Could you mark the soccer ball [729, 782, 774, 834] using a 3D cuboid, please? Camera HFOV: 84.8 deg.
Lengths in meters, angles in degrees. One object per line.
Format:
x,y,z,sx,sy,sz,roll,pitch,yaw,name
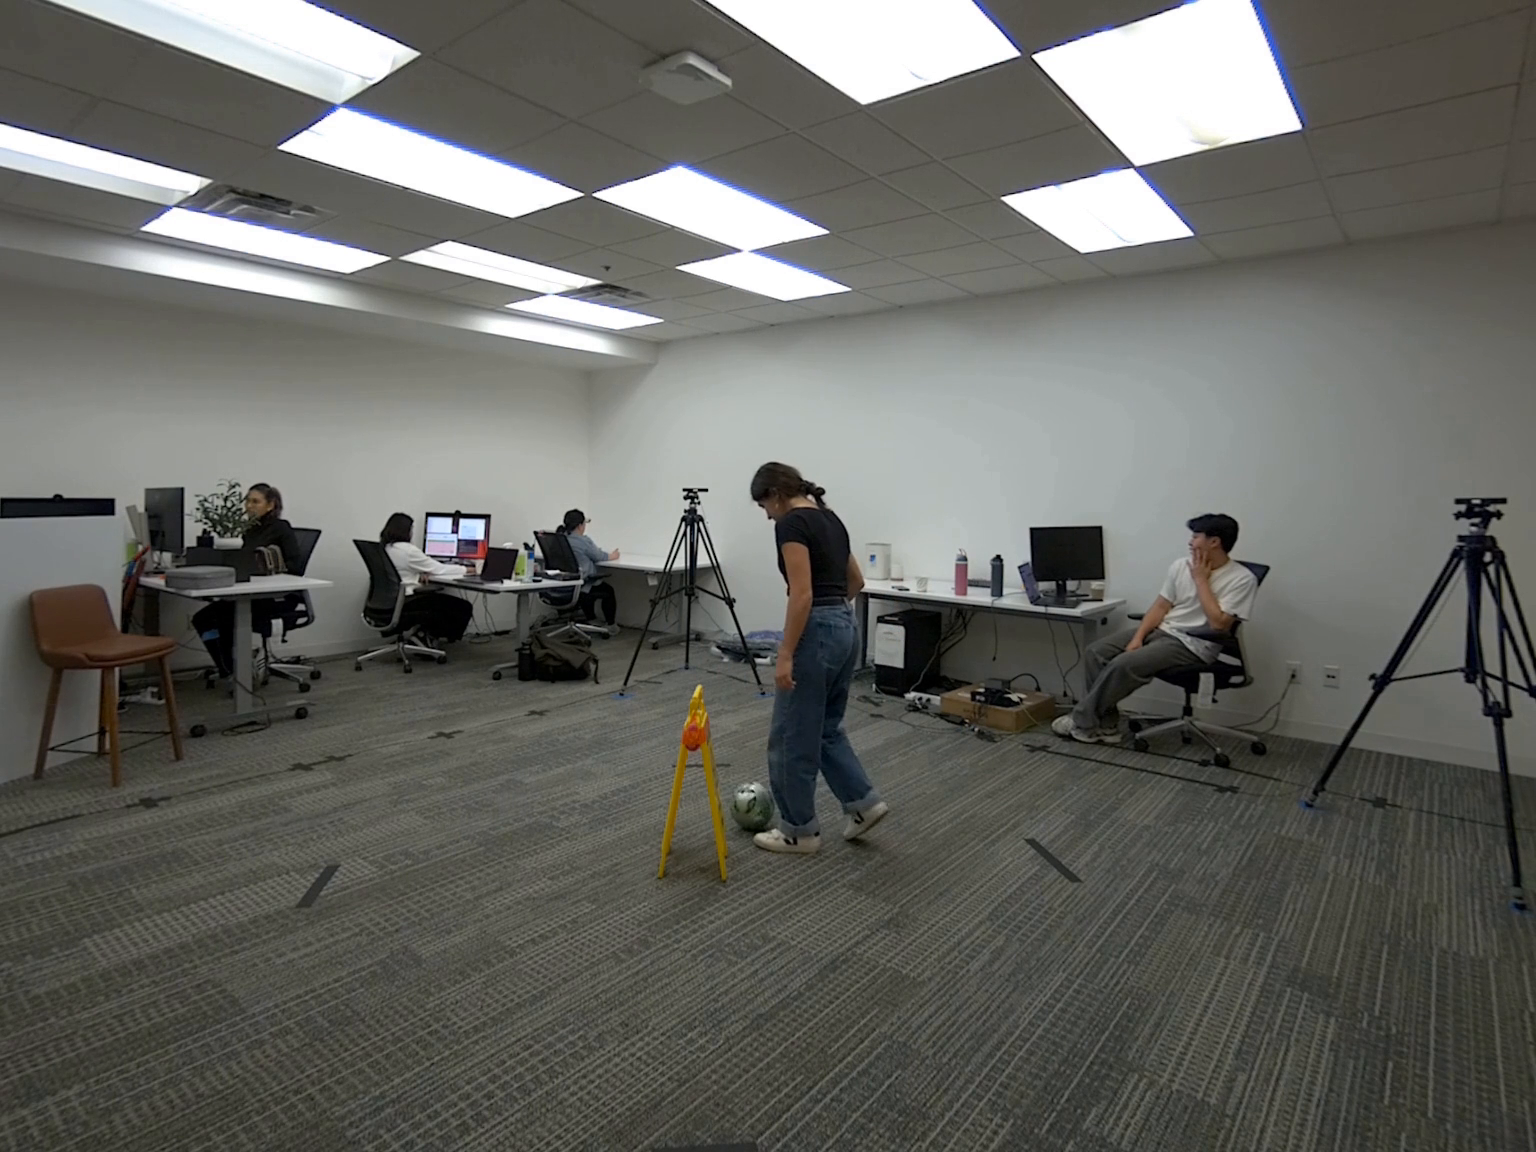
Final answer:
-0.062,0.936,3.502,0.187,0.187,0.188,1,4,-2,soccer ball
